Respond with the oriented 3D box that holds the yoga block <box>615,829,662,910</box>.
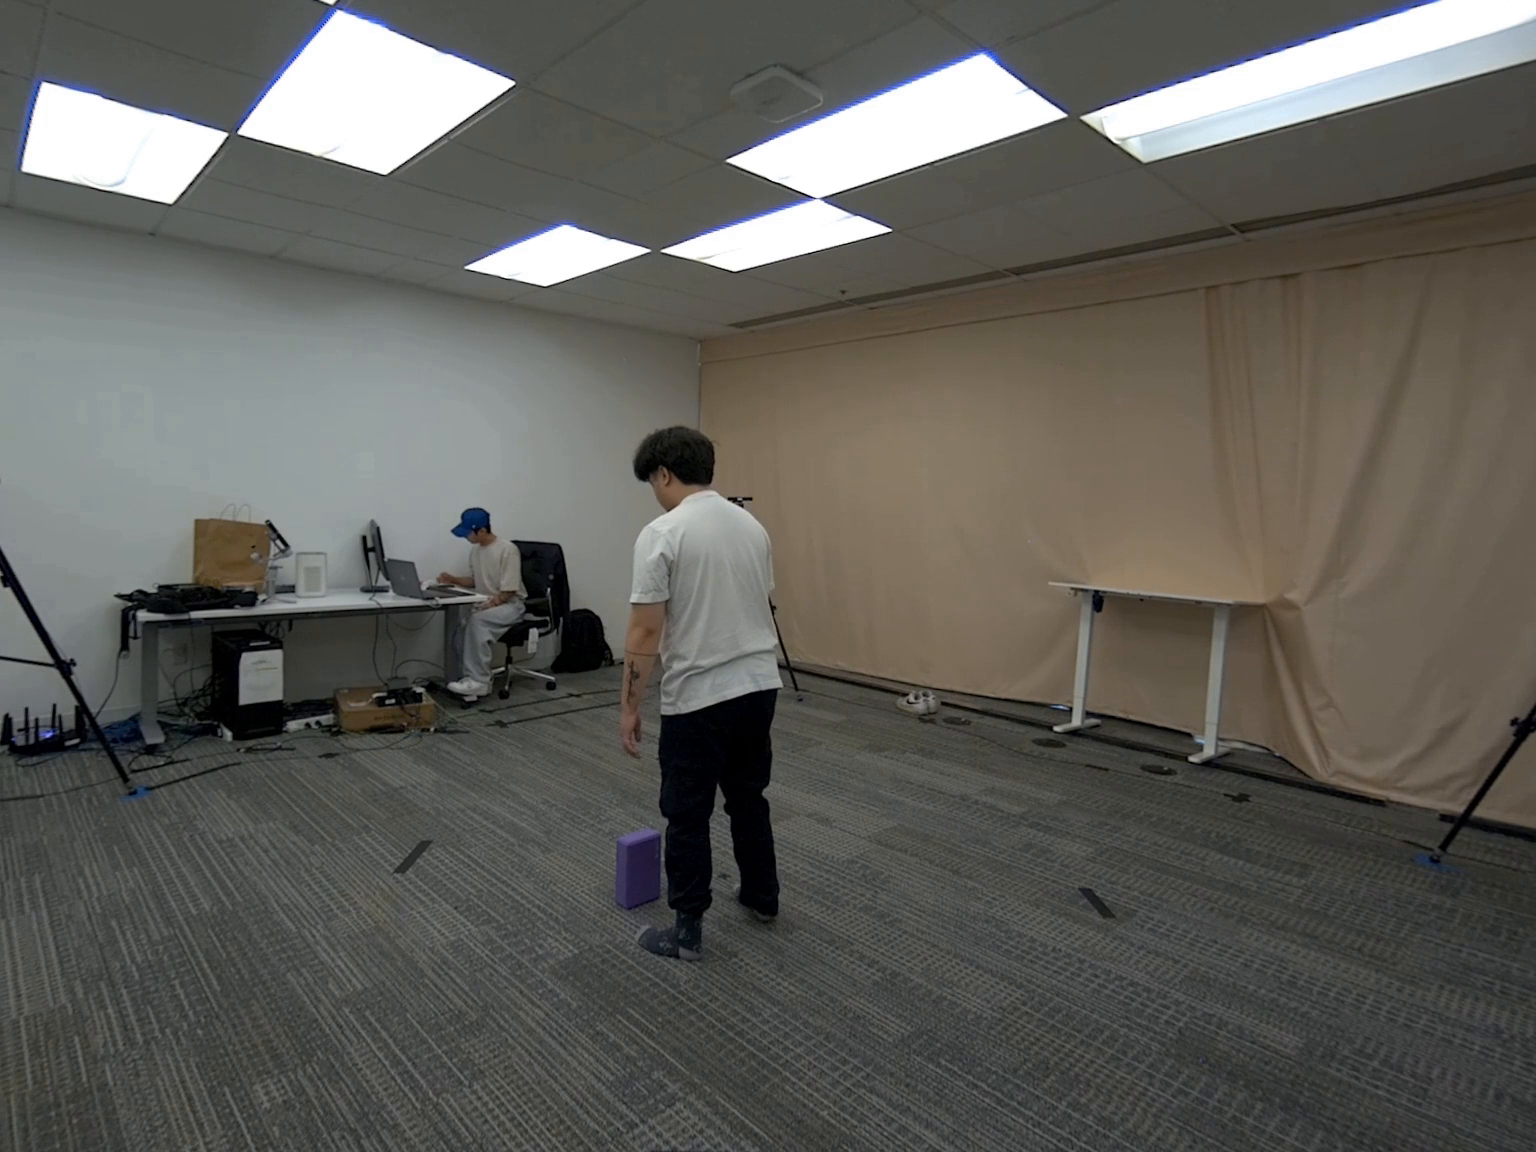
[{"bbox_3d":[-0.451,1.008,2.894,0.146,0.228,0.078,-4,6,-42],"label":"yoga block"}]
